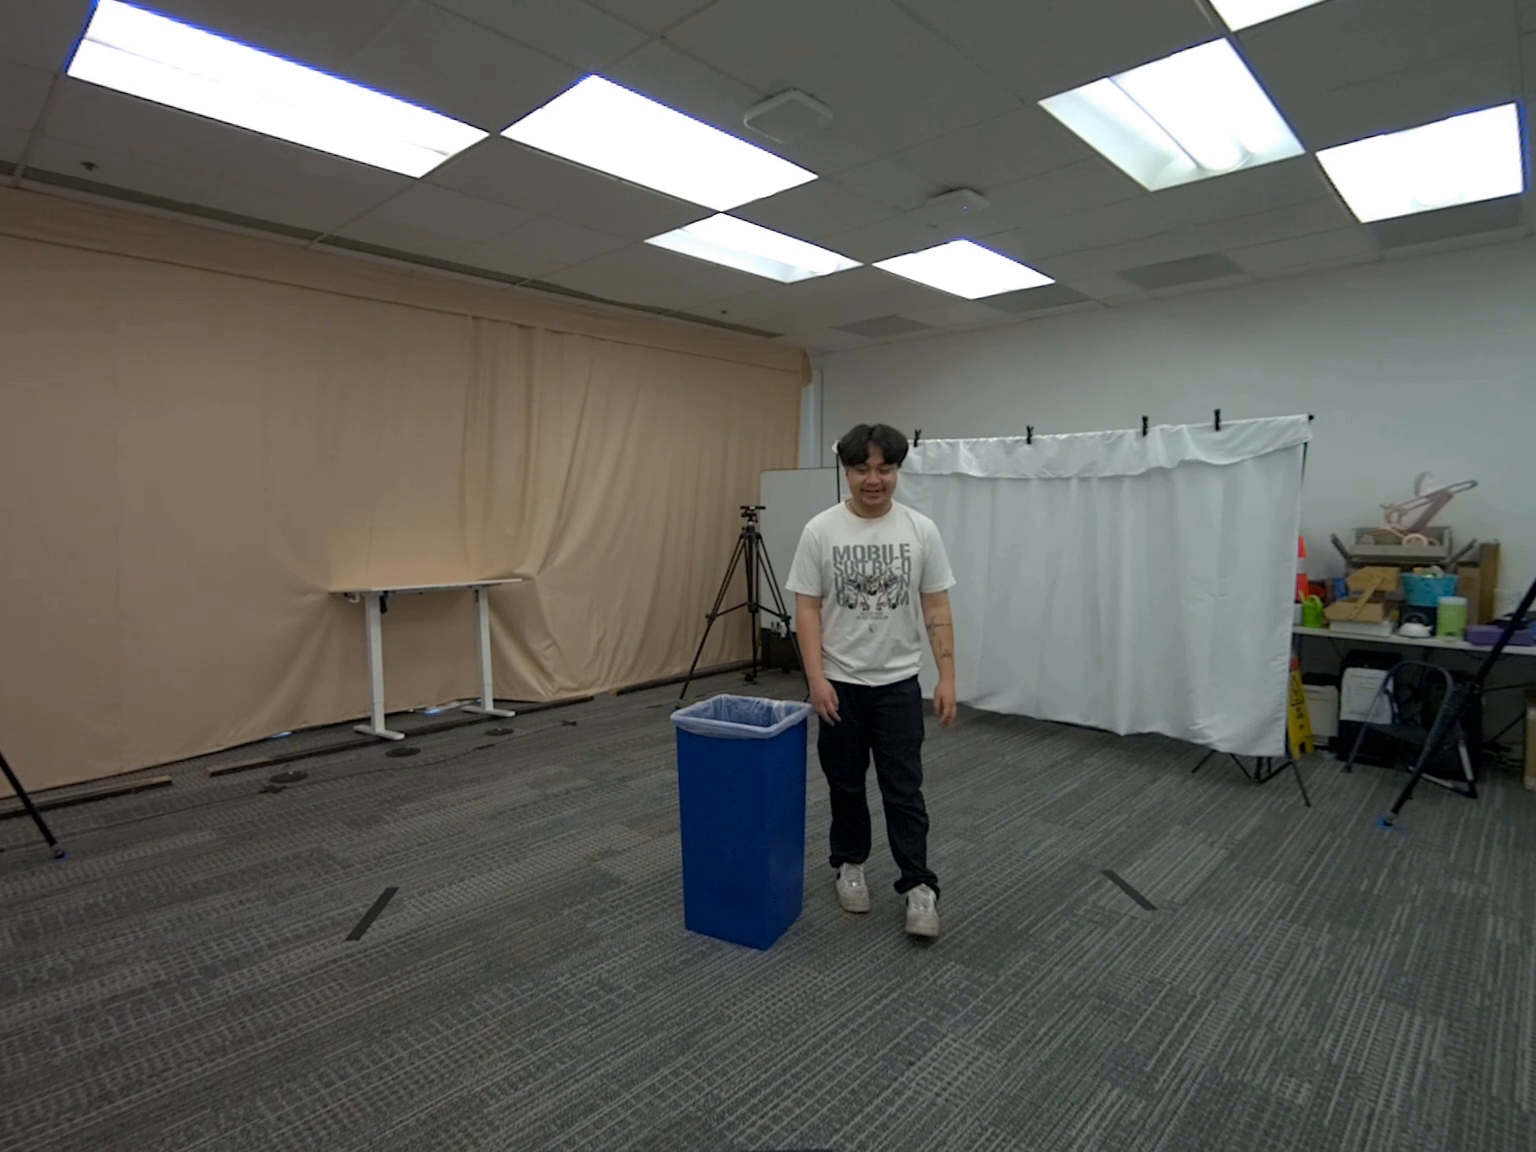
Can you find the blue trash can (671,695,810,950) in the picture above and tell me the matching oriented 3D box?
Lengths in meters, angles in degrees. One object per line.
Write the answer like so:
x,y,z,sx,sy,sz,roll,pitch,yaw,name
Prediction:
-0.077,0.803,2.802,0.388,0.712,0.365,1,3,27,blue trash can
